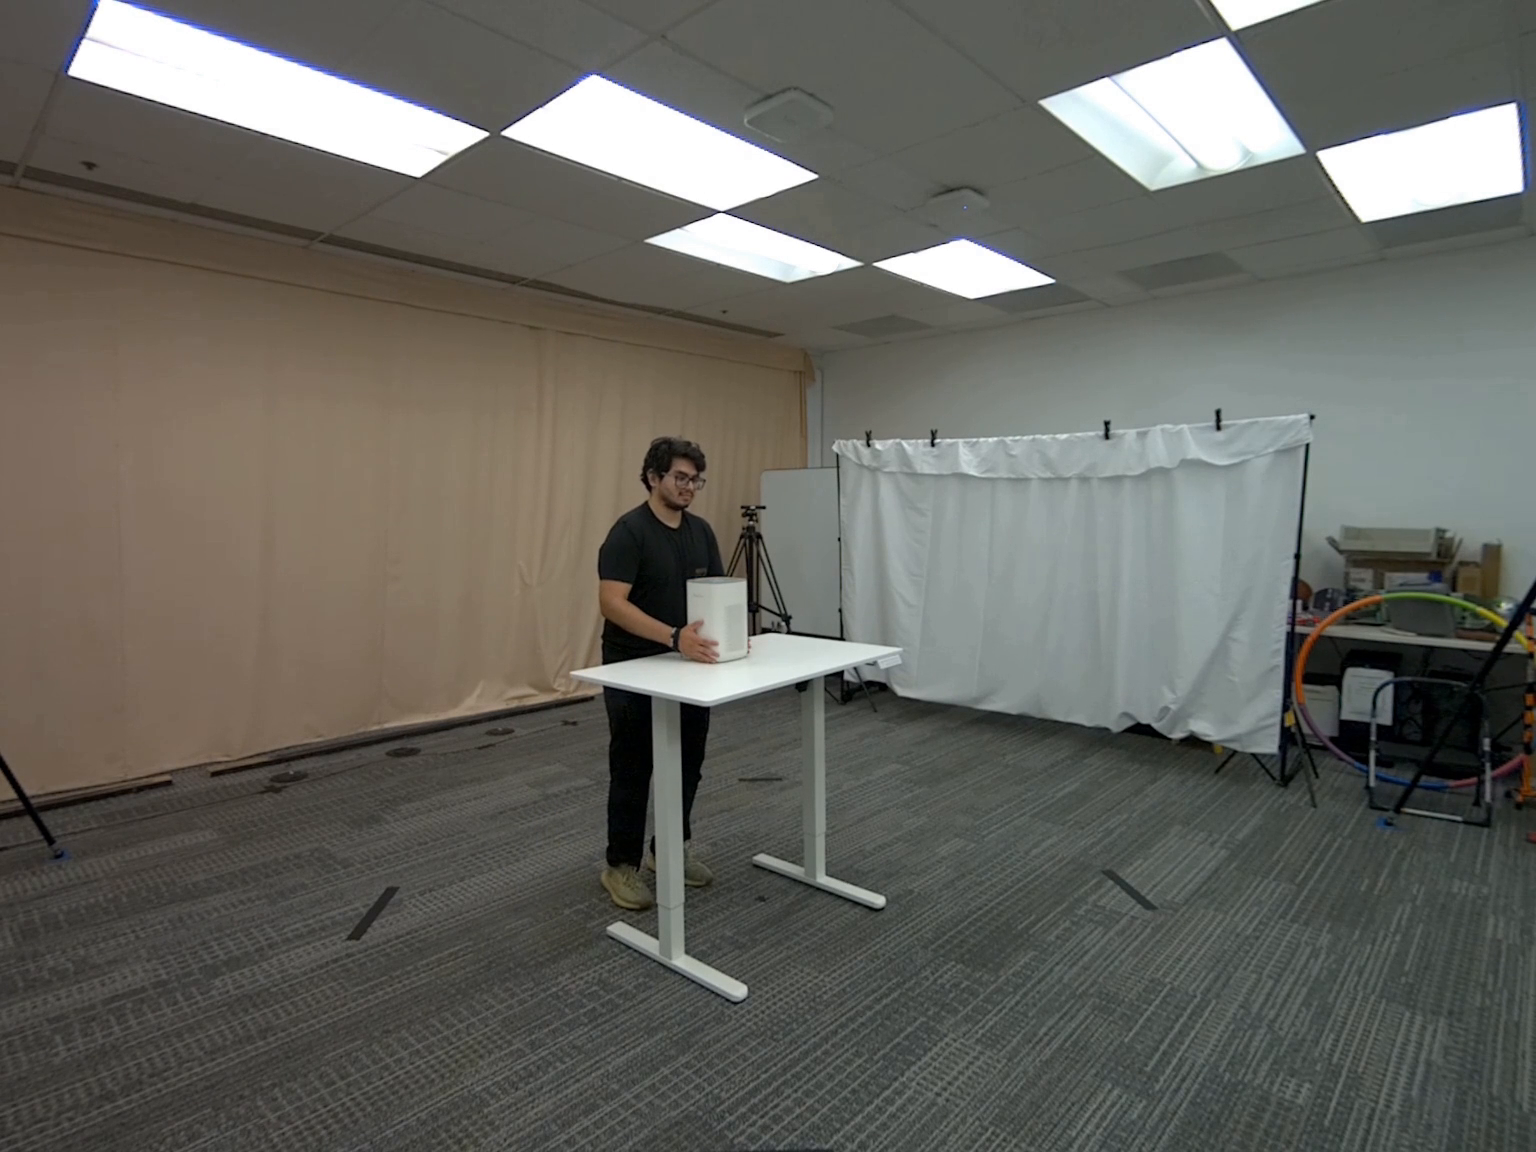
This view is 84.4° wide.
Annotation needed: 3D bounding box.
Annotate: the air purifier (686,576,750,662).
[{"bbox_3d":[-0.164,0.144,2.808,0.177,0.264,0.166,3,7,42],"label":"air purifier"}]
